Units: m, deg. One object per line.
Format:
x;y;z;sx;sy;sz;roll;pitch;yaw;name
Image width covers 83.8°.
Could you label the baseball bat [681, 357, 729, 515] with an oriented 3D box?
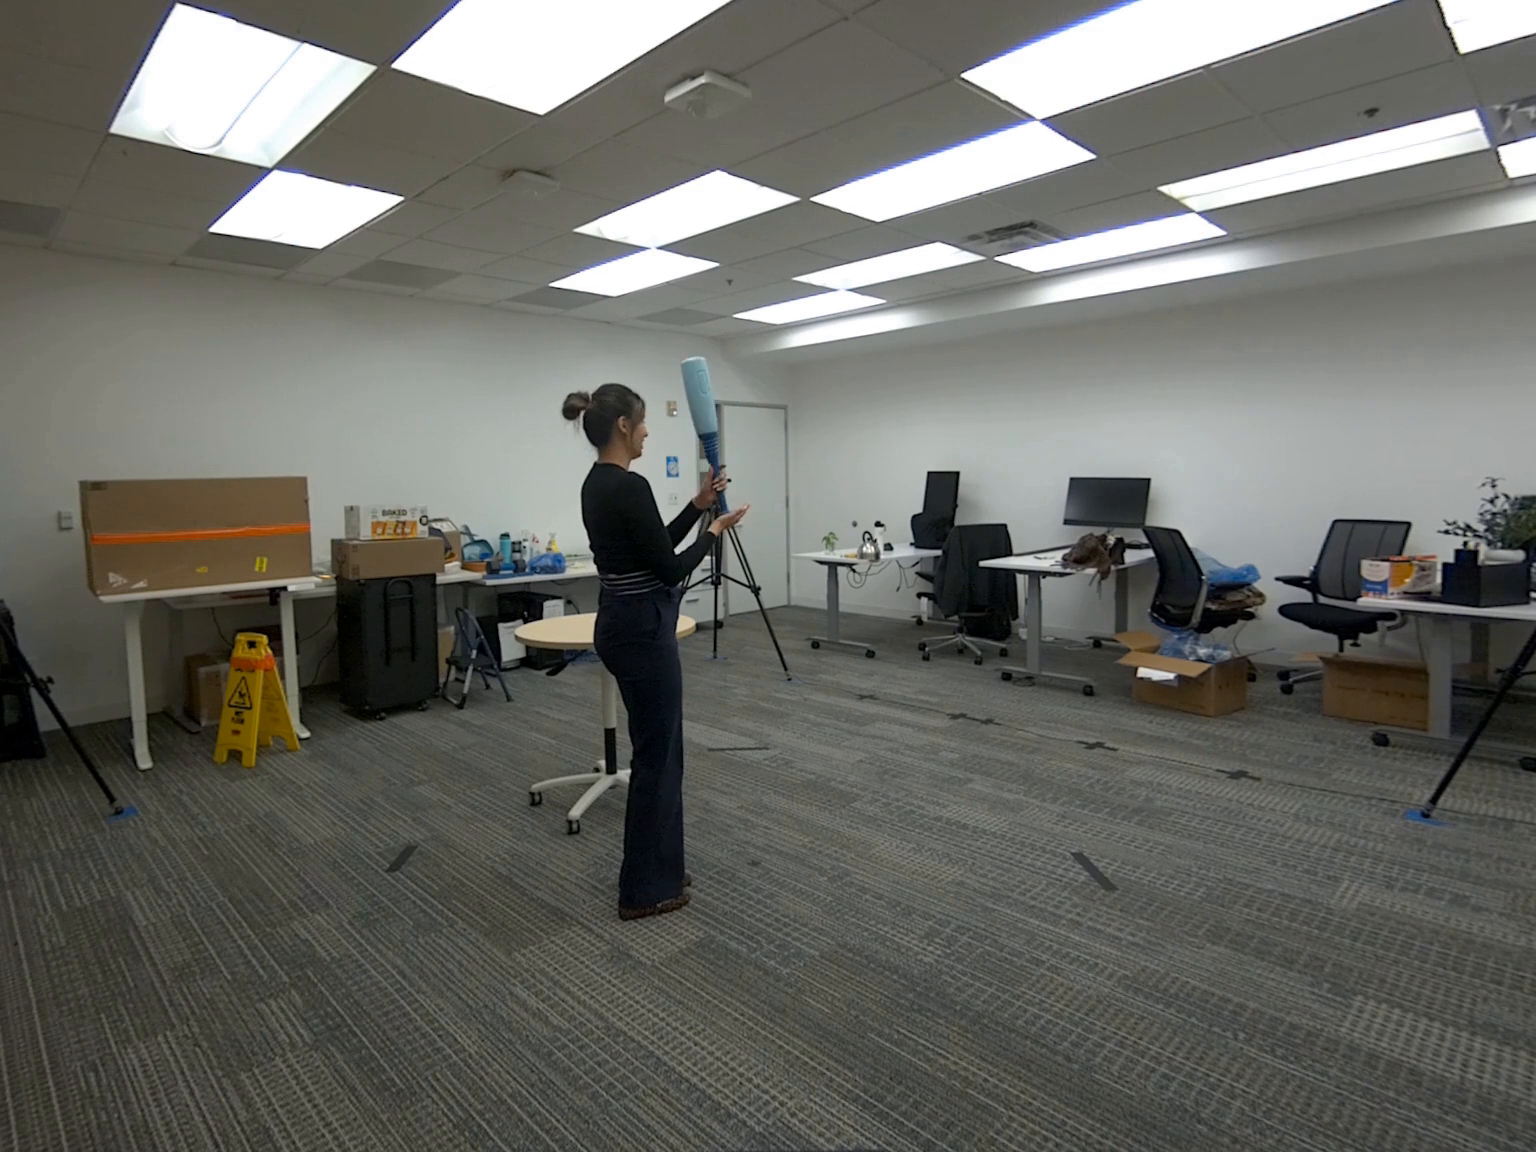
-0.203;-0.454;2.846;0.089;0.540;0.089;-12;4;-1;baseball bat
